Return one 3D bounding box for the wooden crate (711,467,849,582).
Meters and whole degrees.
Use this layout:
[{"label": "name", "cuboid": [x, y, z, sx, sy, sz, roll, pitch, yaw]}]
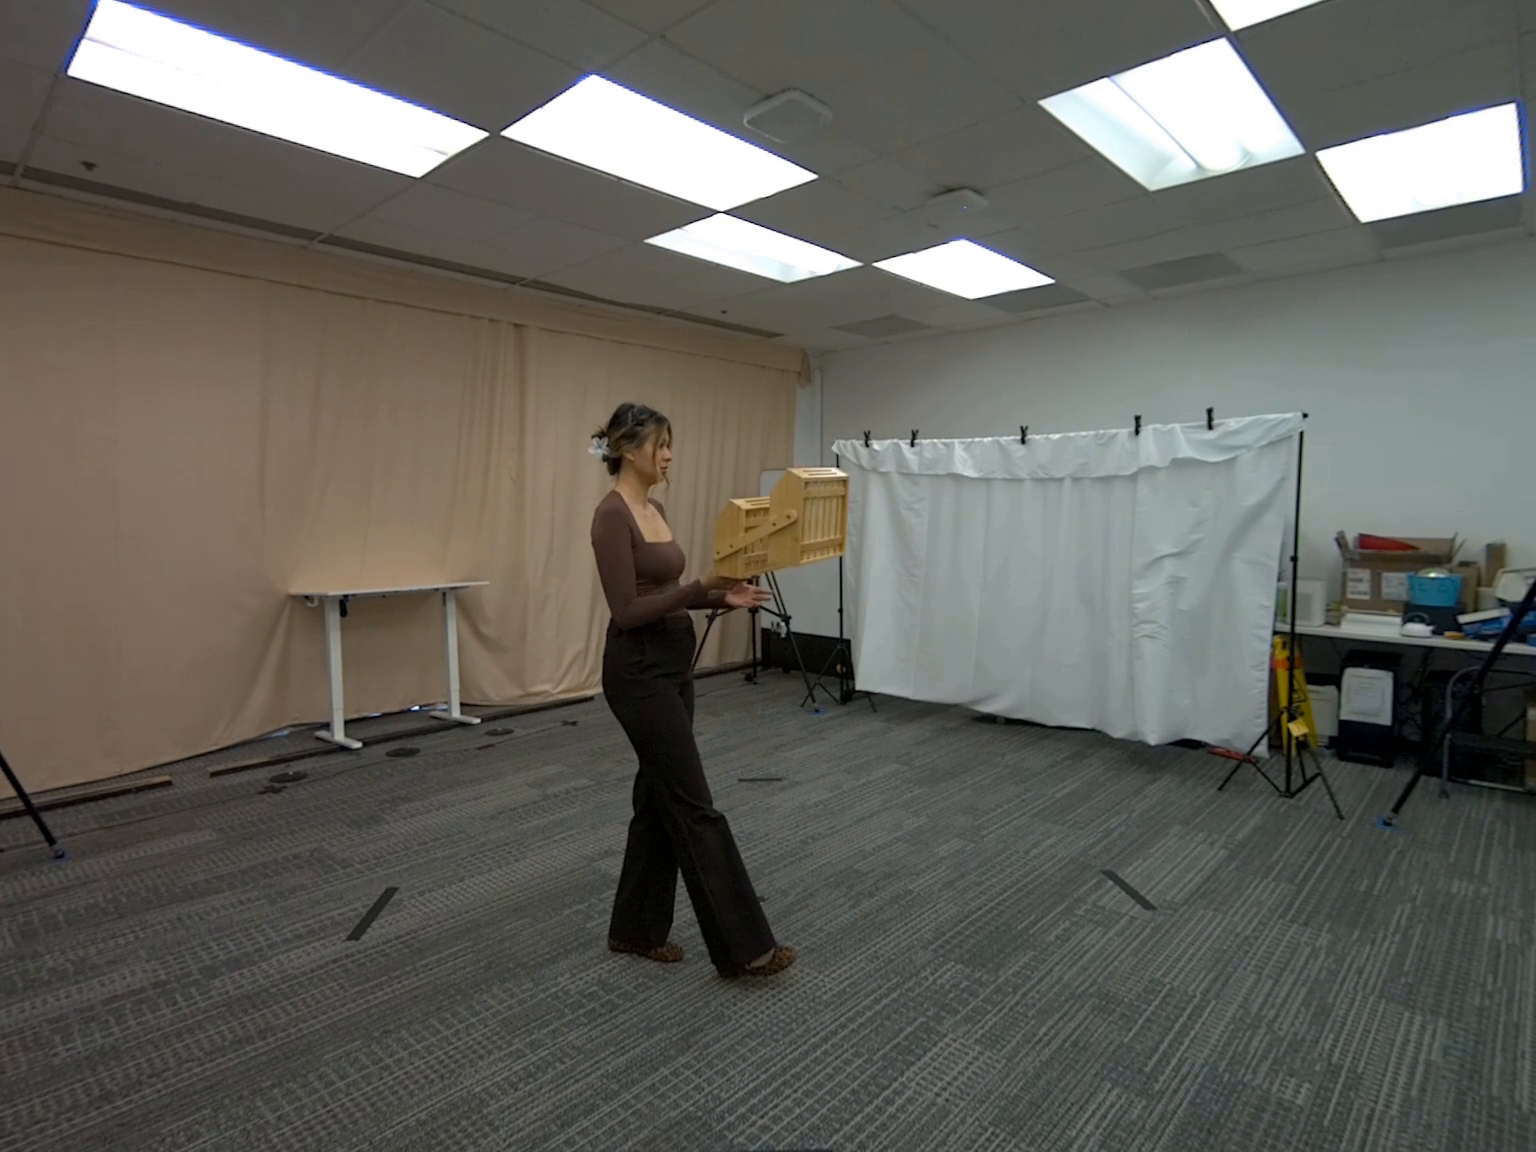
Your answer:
[{"label": "wooden crate", "cuboid": [0.042, -0.155, 2.342, 0.281, 0.300, 0.316, 7, 9, 29]}]
